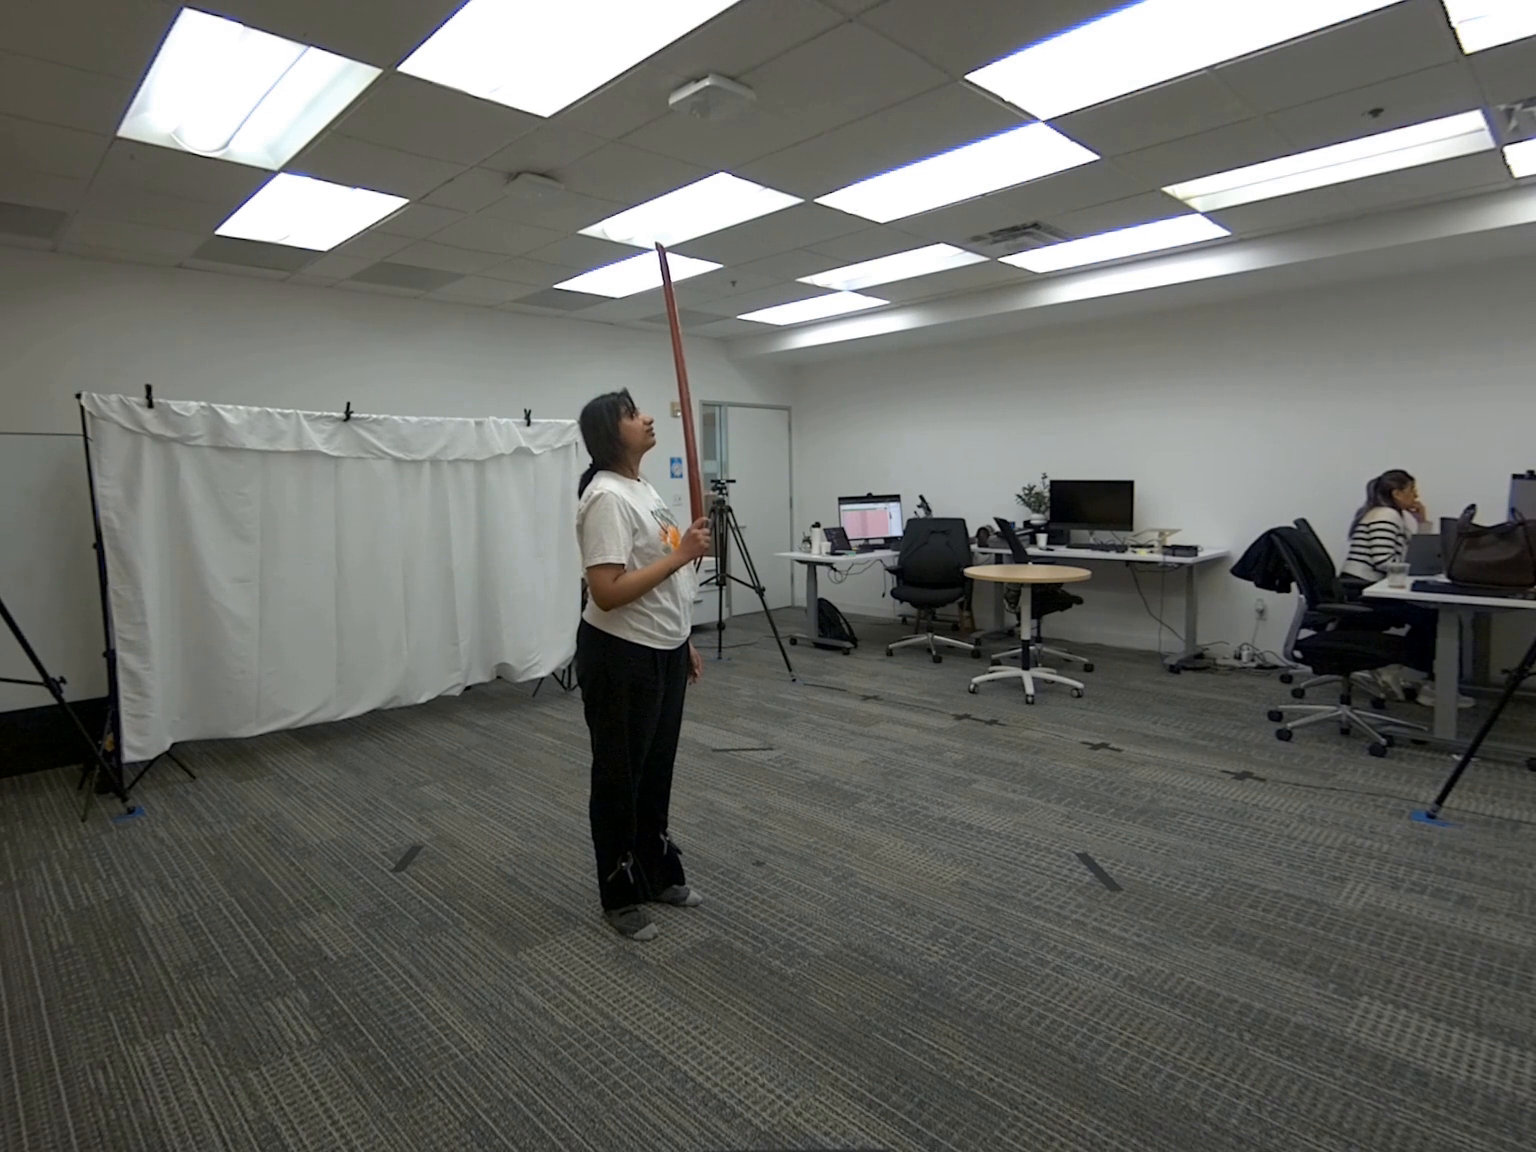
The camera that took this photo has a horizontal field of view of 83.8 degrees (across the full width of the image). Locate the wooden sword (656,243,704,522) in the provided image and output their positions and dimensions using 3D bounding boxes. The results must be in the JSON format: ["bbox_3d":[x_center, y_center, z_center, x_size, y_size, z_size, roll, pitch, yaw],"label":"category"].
[{"bbox_3d":[-0.266,-0.564,2.644,0.050,1.036,0.024,-1,-13,-36],"label":"wooden sword"}]
